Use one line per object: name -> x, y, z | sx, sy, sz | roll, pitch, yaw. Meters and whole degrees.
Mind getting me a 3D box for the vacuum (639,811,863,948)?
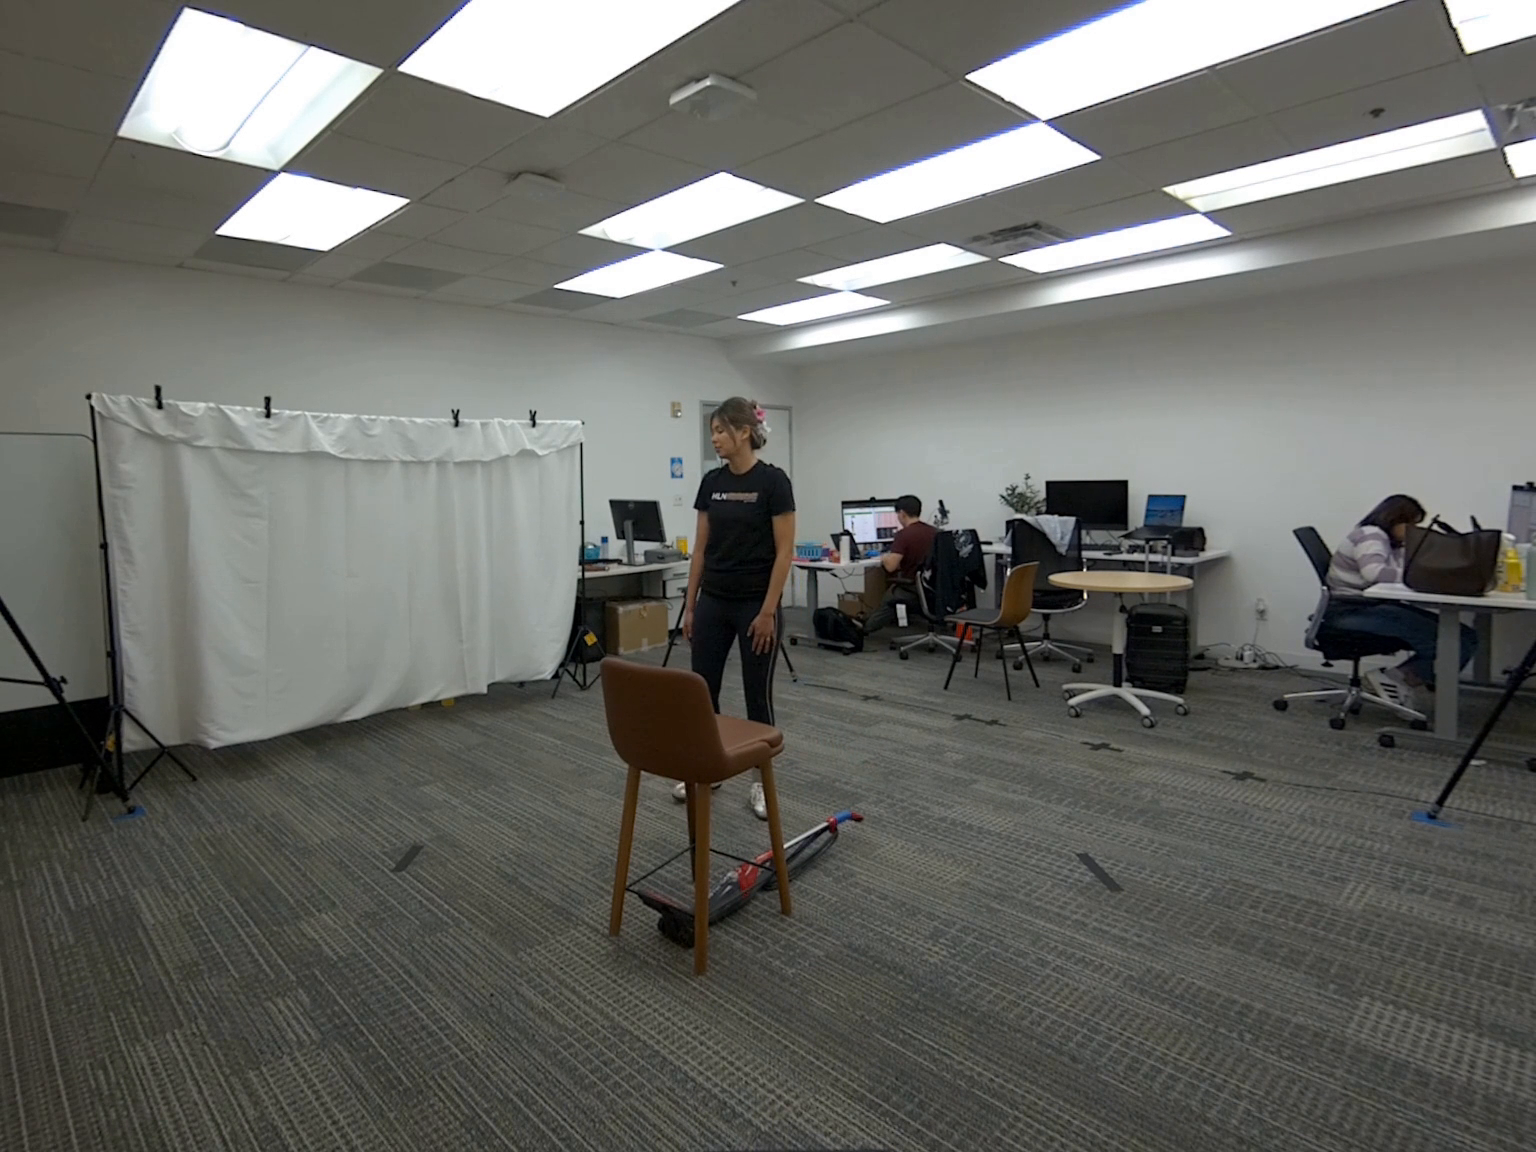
vacuum -> 0.046, 1.006, 2.972 | 0.260, 0.143, 1.022 | 3, 7, 40
